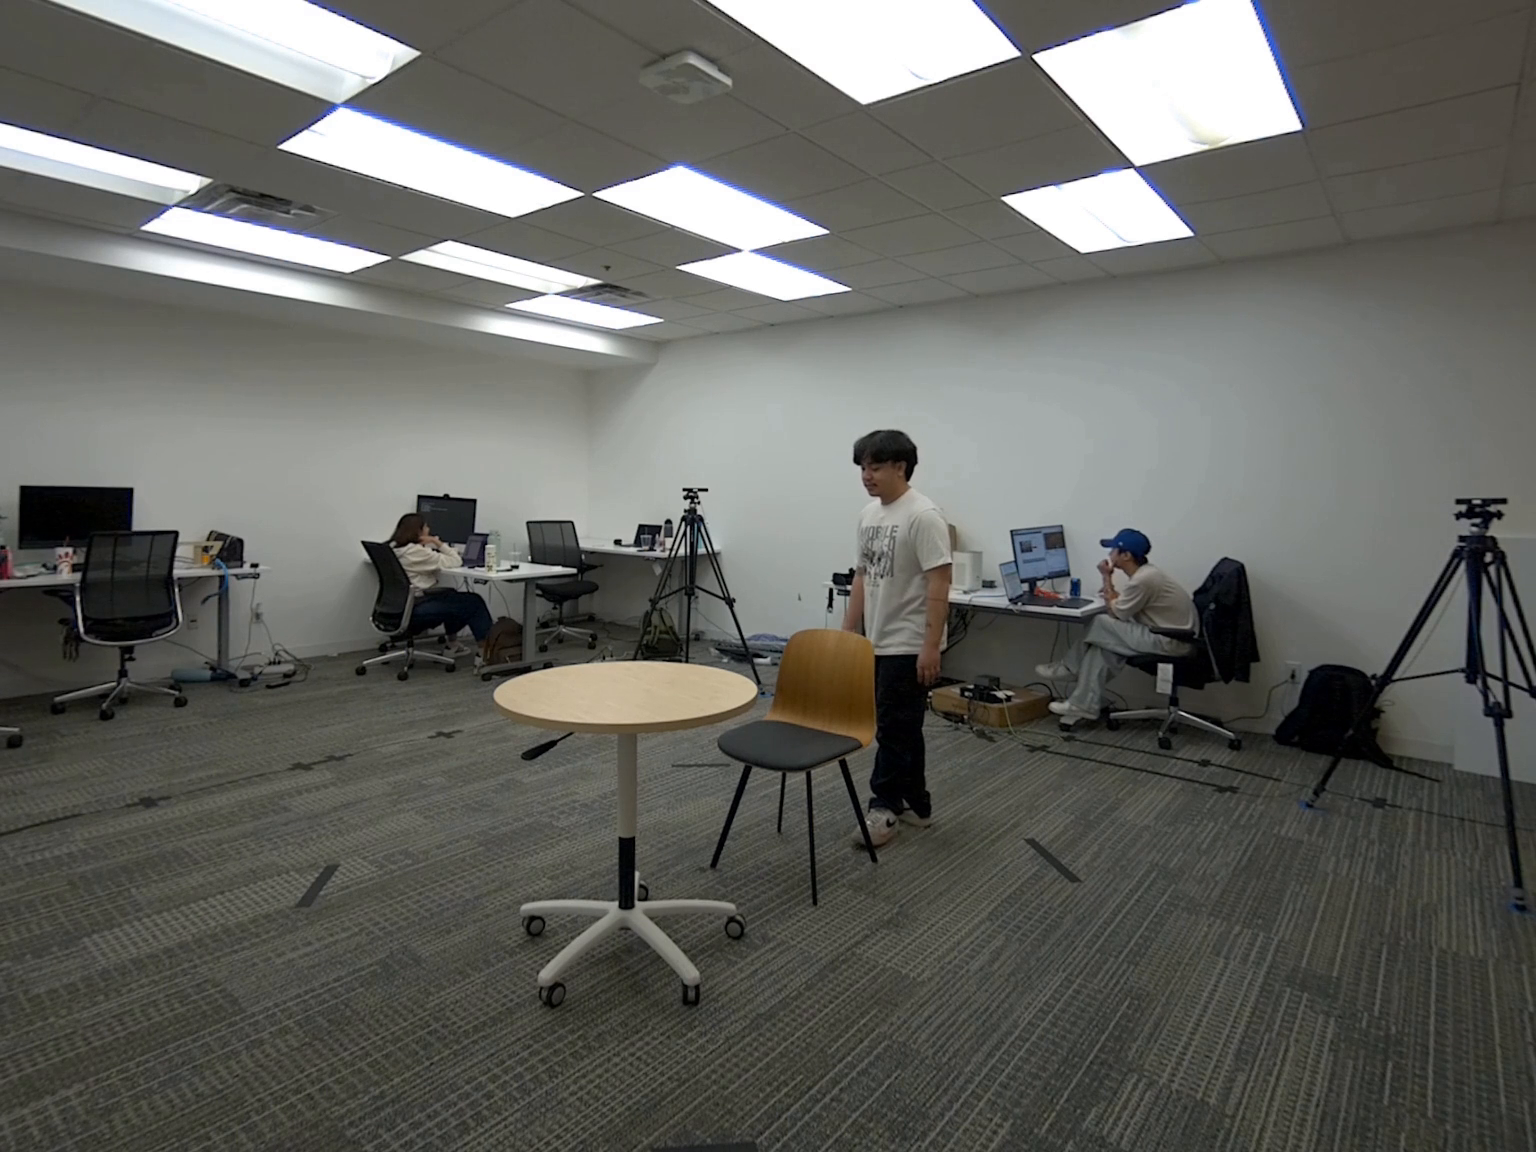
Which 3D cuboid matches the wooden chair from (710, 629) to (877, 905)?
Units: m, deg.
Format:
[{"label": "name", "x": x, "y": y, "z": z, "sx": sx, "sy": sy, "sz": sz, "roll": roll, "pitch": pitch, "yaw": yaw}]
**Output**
[{"label": "wooden chair", "x": 0.099, "y": 0.645, "z": 3.129, "sx": 0.494, "sy": 0.878, "sz": 0.506, "roll": 4, "pitch": 0, "yaw": 36}]
